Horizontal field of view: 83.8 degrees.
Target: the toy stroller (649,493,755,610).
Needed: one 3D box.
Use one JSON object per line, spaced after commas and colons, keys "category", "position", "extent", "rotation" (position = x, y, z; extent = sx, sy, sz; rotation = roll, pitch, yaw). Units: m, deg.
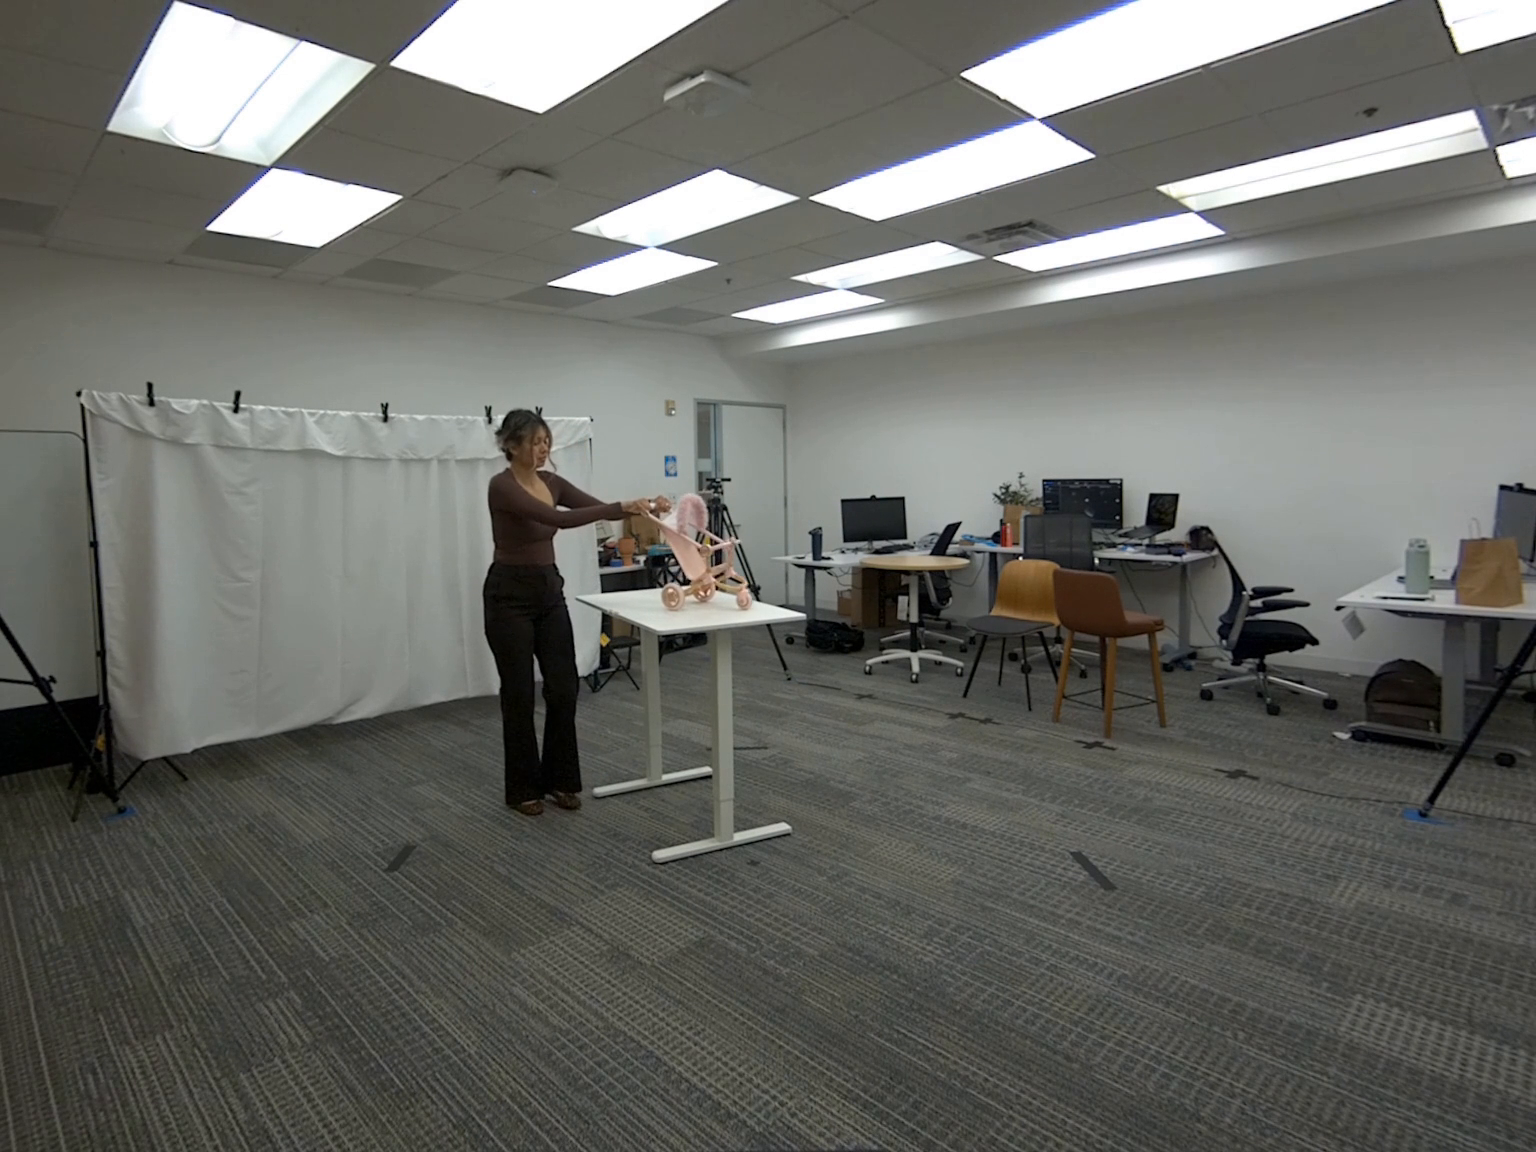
{"category": "toy stroller", "position": [-0.274, -0.094, 3.428], "extent": [0.347, 0.537, 0.275], "rotation": [-17, -3, 31]}
